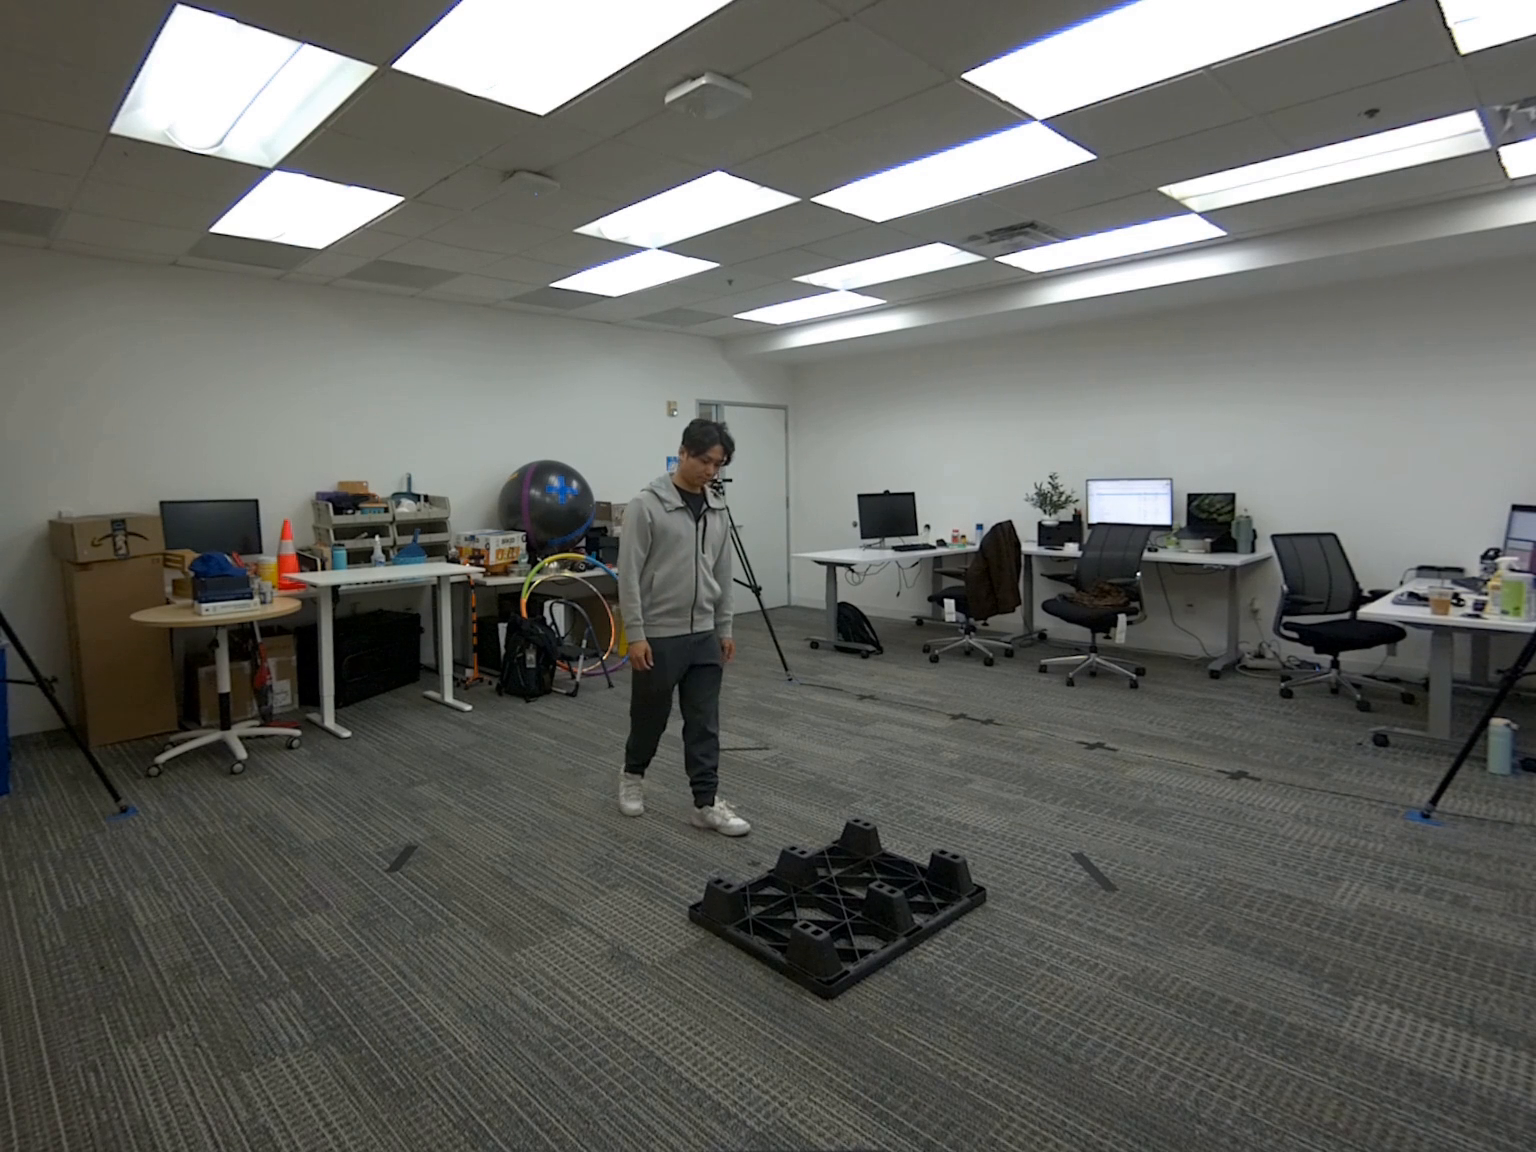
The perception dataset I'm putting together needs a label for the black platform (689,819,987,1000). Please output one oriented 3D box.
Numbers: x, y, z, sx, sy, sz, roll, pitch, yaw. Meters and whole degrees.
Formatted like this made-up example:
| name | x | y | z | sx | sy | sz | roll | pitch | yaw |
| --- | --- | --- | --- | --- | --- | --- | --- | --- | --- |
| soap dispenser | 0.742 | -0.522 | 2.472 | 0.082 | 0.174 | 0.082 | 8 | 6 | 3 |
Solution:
| name | x | y | z | sx | sy | sz | roll | pitch | yaw |
| --- | --- | --- | --- | --- | --- | --- | --- | --- | --- |
| black platform | 0.236 | 1.013 | 2.766 | 0.784 | 0.142 | 0.624 | -7 | 9 | -43 |
